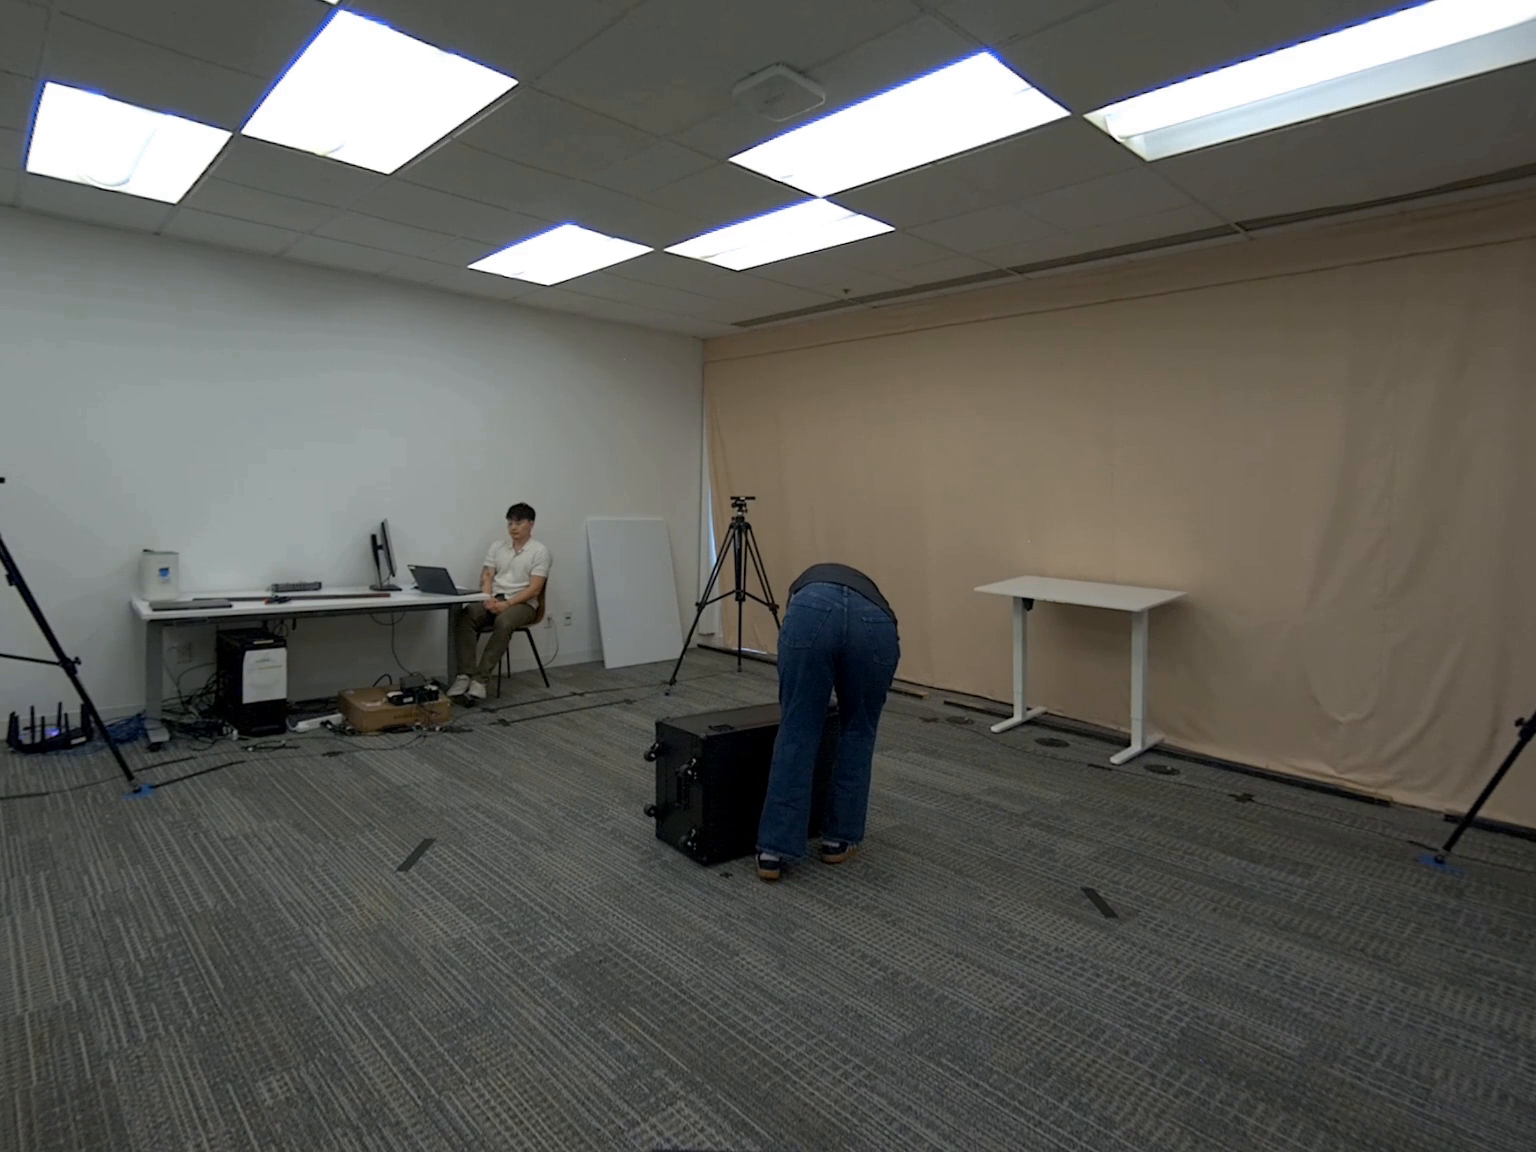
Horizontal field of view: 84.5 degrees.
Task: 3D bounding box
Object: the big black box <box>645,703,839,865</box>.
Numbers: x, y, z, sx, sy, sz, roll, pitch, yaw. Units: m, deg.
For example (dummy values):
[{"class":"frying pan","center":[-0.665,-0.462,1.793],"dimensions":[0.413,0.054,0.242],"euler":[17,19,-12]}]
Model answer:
[{"class":"big black box","center":[-0.080,0.813,3.490],"dimensions":[0.849,0.522,0.395],"euler":[-1,4,-37]}]
